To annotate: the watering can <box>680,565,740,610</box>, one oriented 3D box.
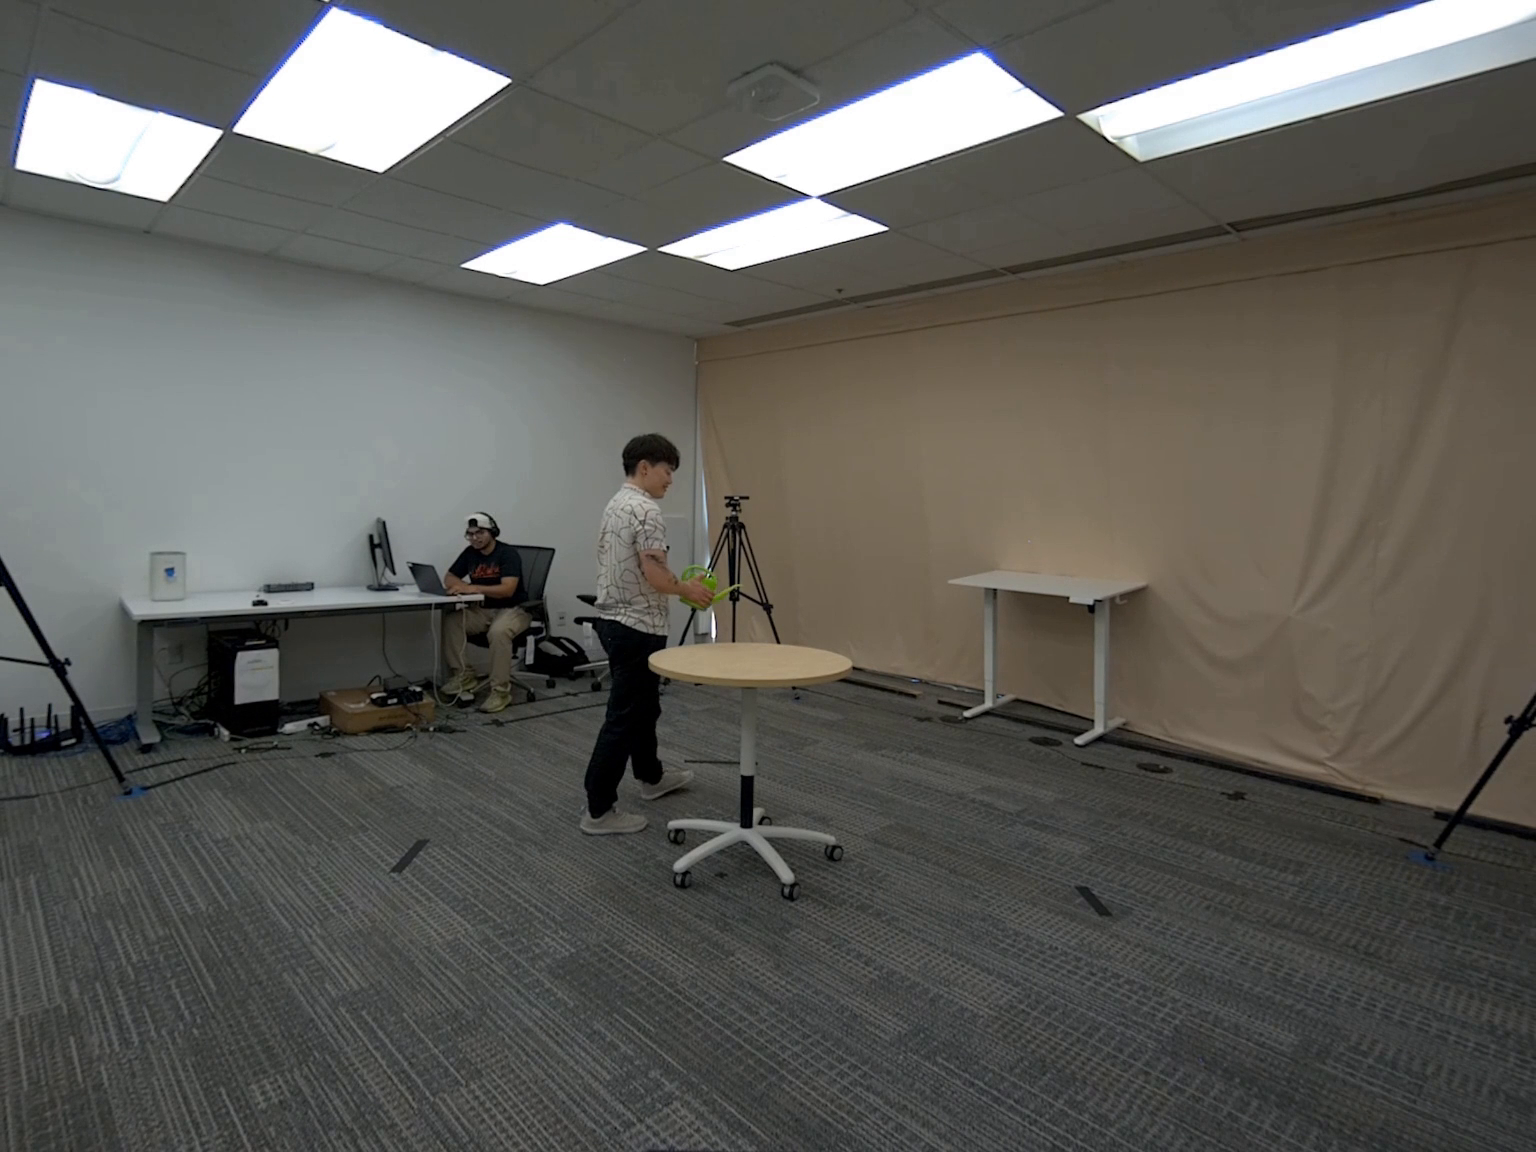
[{"bbox_3d":[-0.268,0.067,3.660,0.278,0.177,0.098,21,-10,-2],"label":"watering can"}]
